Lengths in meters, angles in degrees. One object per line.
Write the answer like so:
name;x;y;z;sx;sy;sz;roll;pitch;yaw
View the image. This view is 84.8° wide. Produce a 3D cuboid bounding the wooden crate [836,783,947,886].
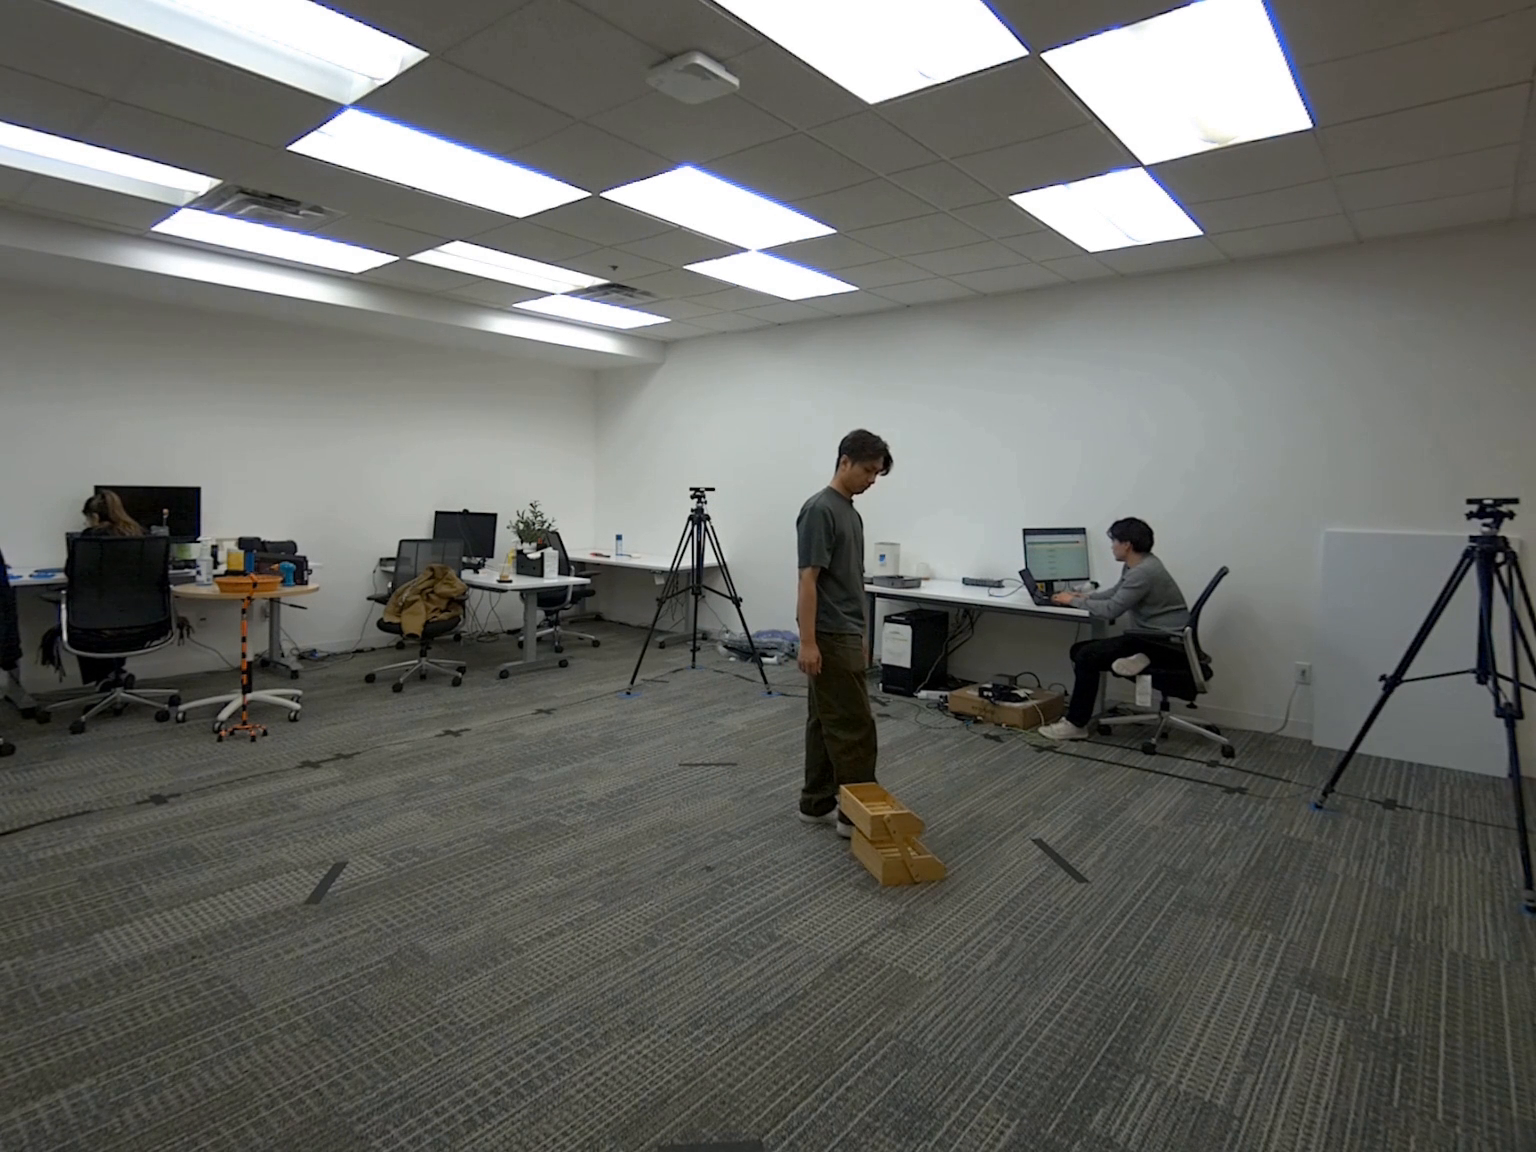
wooden crate;0.468;0.944;3.170;0.297;0.272;0.331;1;4;-16
